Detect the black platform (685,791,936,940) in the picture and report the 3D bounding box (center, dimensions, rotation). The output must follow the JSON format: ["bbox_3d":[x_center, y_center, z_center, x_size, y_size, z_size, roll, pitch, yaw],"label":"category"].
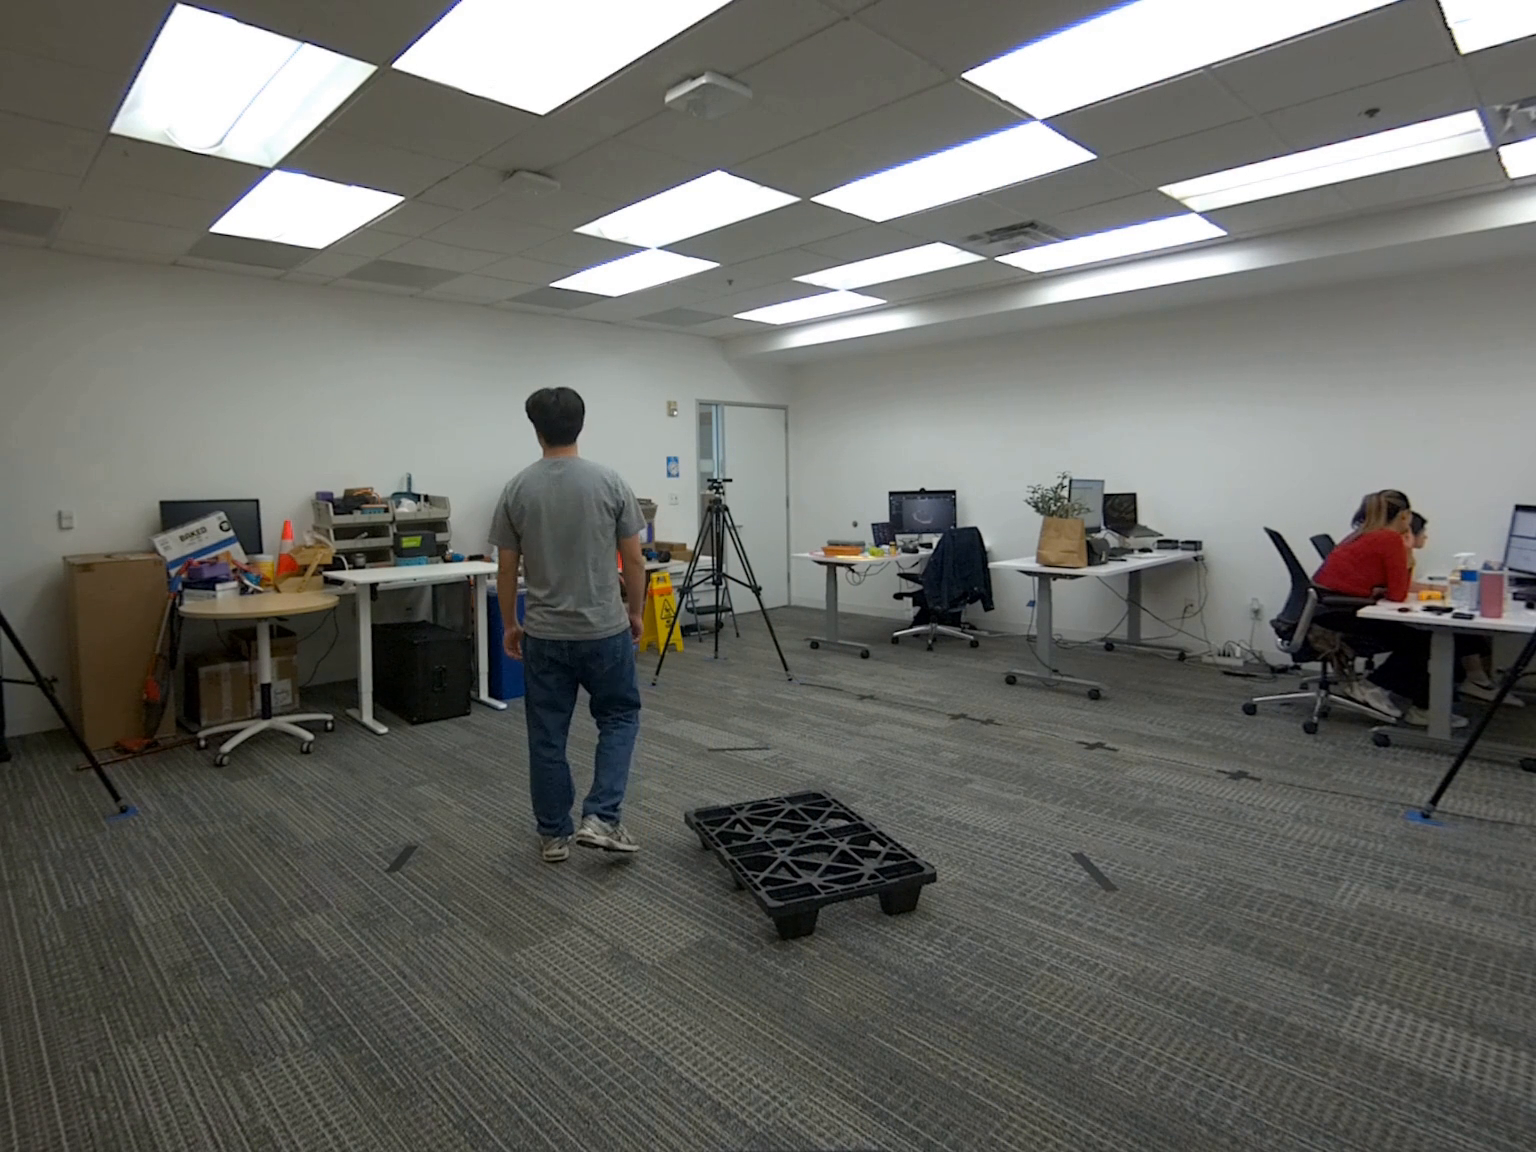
[{"bbox_3d":[0.114,0.987,2.995,0.594,0.142,0.825,-4,7,-23],"label":"black platform"}]
